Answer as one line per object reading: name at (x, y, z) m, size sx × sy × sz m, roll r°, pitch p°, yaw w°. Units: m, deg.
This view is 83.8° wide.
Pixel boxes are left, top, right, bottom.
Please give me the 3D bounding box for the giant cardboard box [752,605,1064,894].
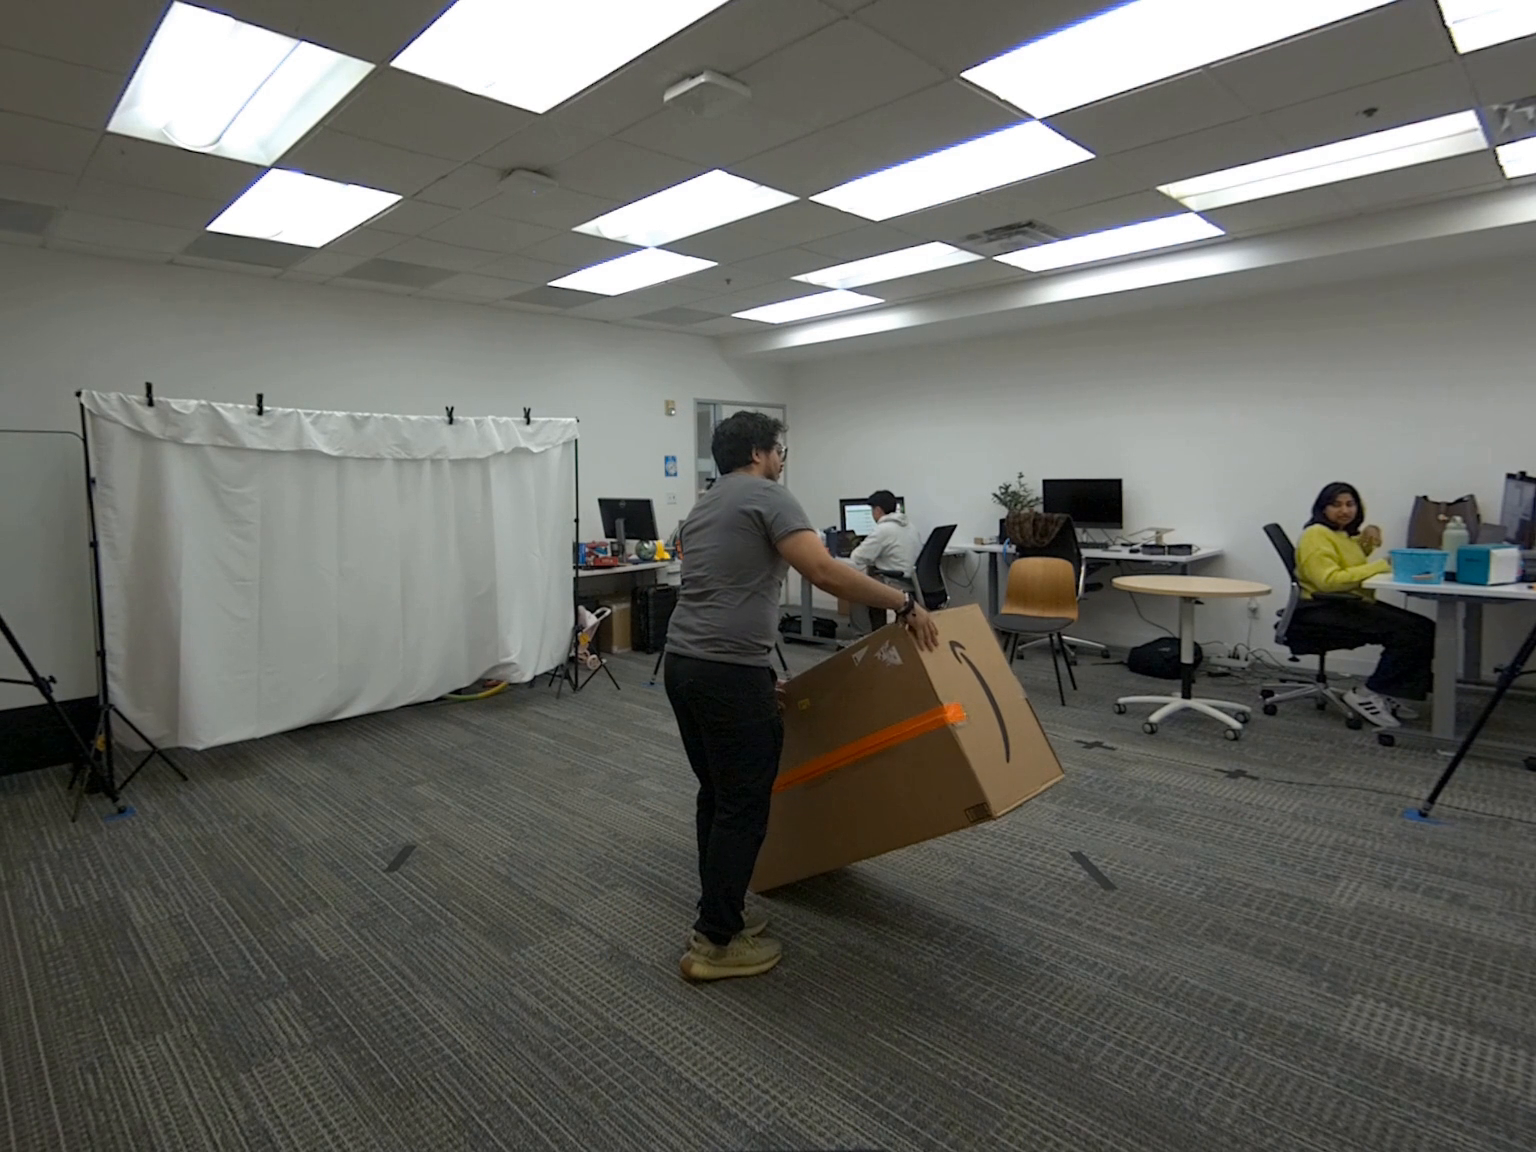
giant cardboard box at (0.310, 0.580, 2.782) m, size 0.415 × 0.589 × 1.033 m, roll -5°, pitch -22°, yaw -46°
